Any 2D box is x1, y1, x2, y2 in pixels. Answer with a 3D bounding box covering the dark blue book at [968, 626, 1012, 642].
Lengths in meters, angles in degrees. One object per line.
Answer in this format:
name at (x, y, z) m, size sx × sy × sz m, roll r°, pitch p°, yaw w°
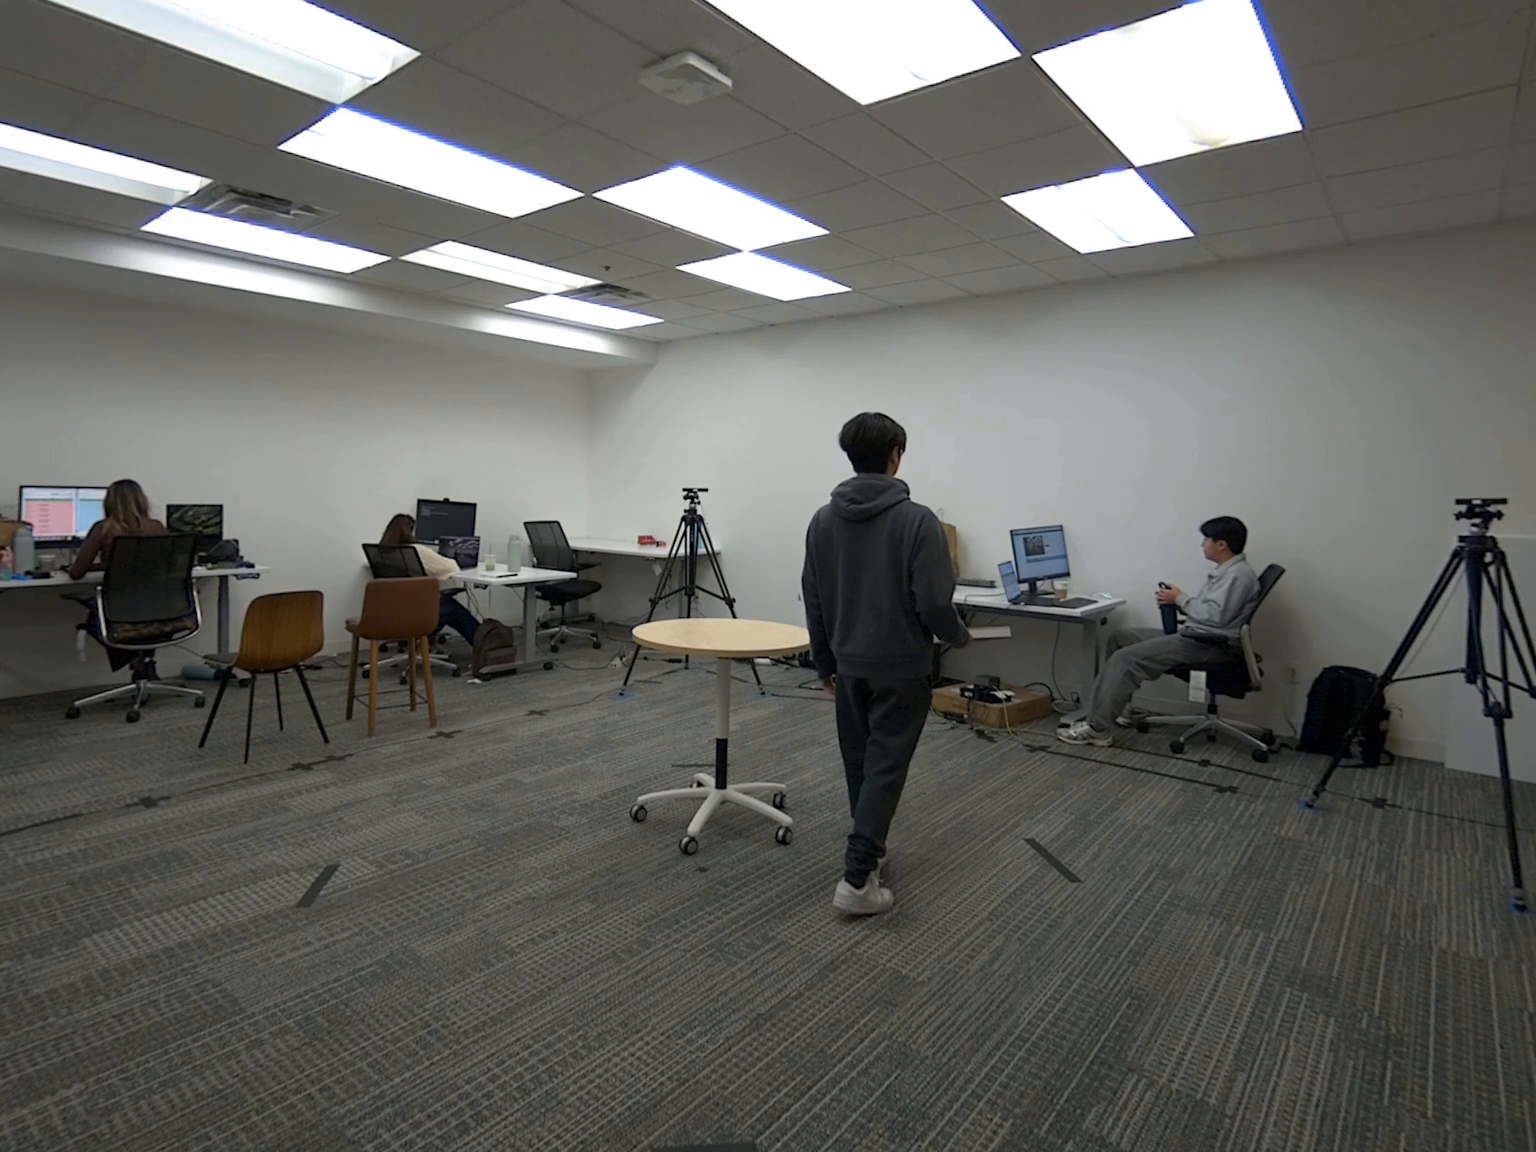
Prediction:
dark blue book at (0.724, 0.213, 3.090) m, size 0.243 × 0.045 × 0.163 m, roll -3°, pitch -6°, yaw -8°
